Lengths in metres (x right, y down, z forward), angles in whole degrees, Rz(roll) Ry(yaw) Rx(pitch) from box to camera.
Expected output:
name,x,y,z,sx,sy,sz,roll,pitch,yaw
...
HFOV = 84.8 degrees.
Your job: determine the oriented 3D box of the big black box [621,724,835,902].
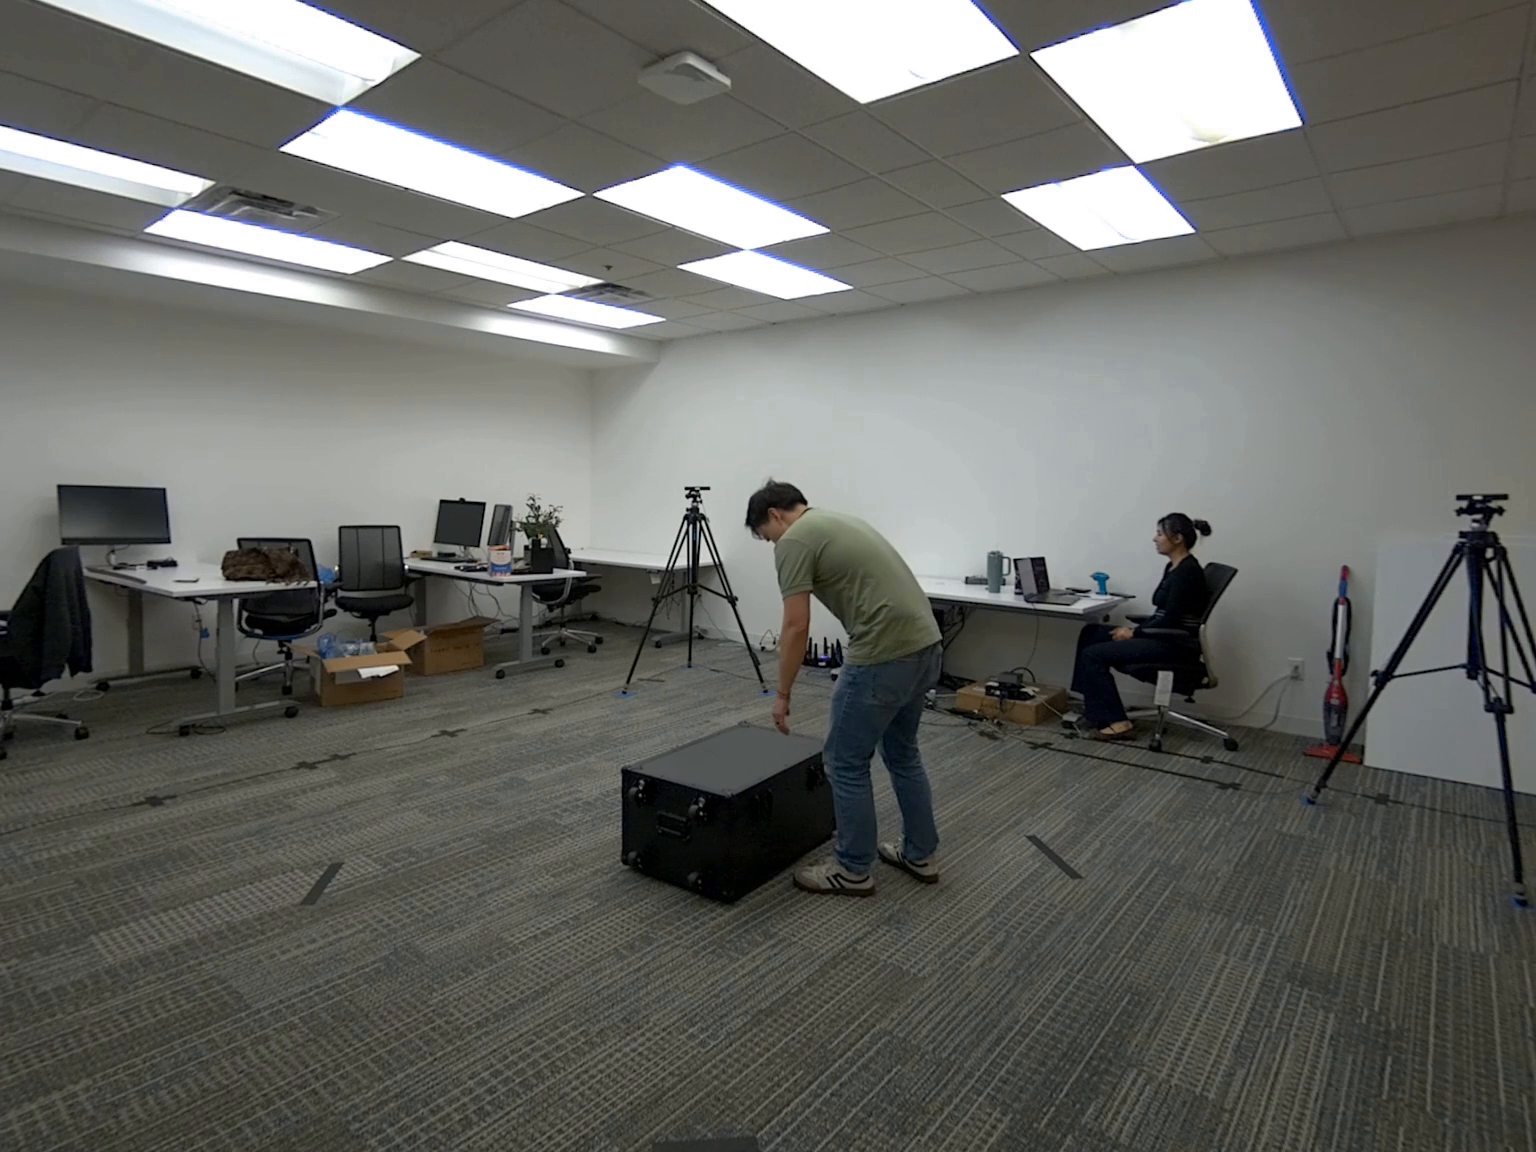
name,x,y,z,sx,sy,sz,roll,pitch,yaw
big black box,-0.154,0.863,3.224,0.538,0.395,0.837,4,5,34
